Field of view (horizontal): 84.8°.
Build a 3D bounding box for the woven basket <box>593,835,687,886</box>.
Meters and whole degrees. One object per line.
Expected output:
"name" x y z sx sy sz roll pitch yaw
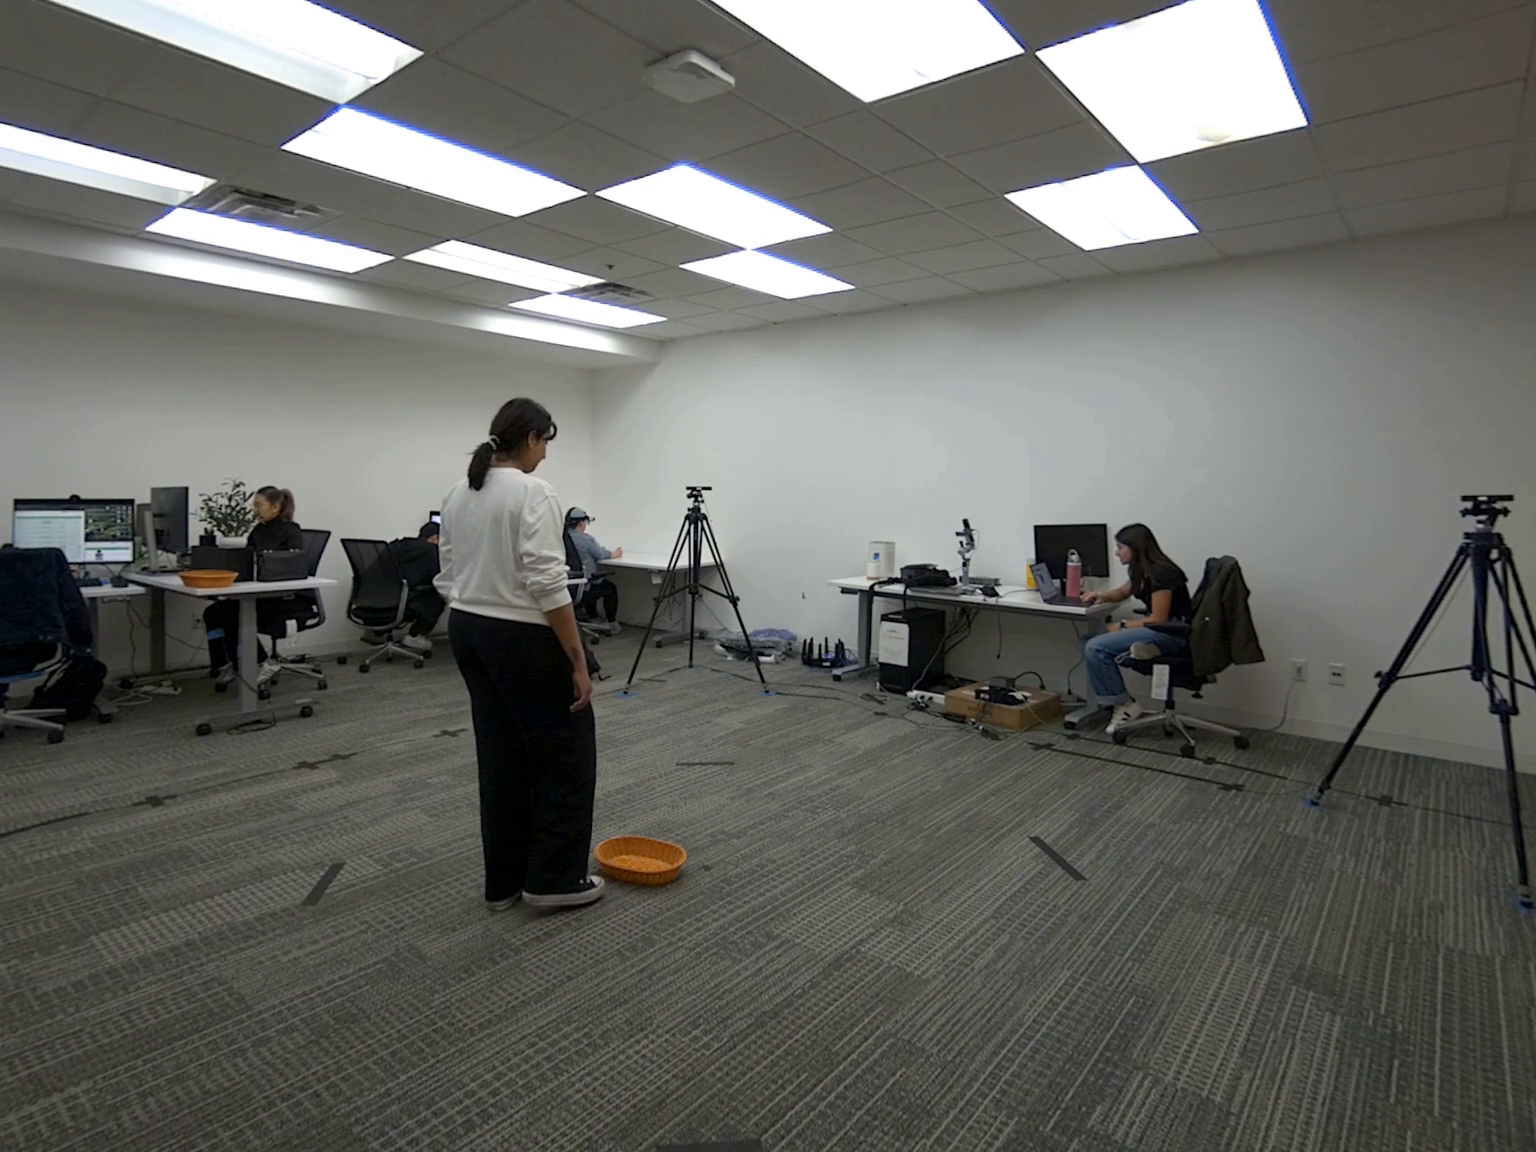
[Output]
"woven basket" -0.462 1.022 3.062 0.360 0.073 0.247 4 7 26
